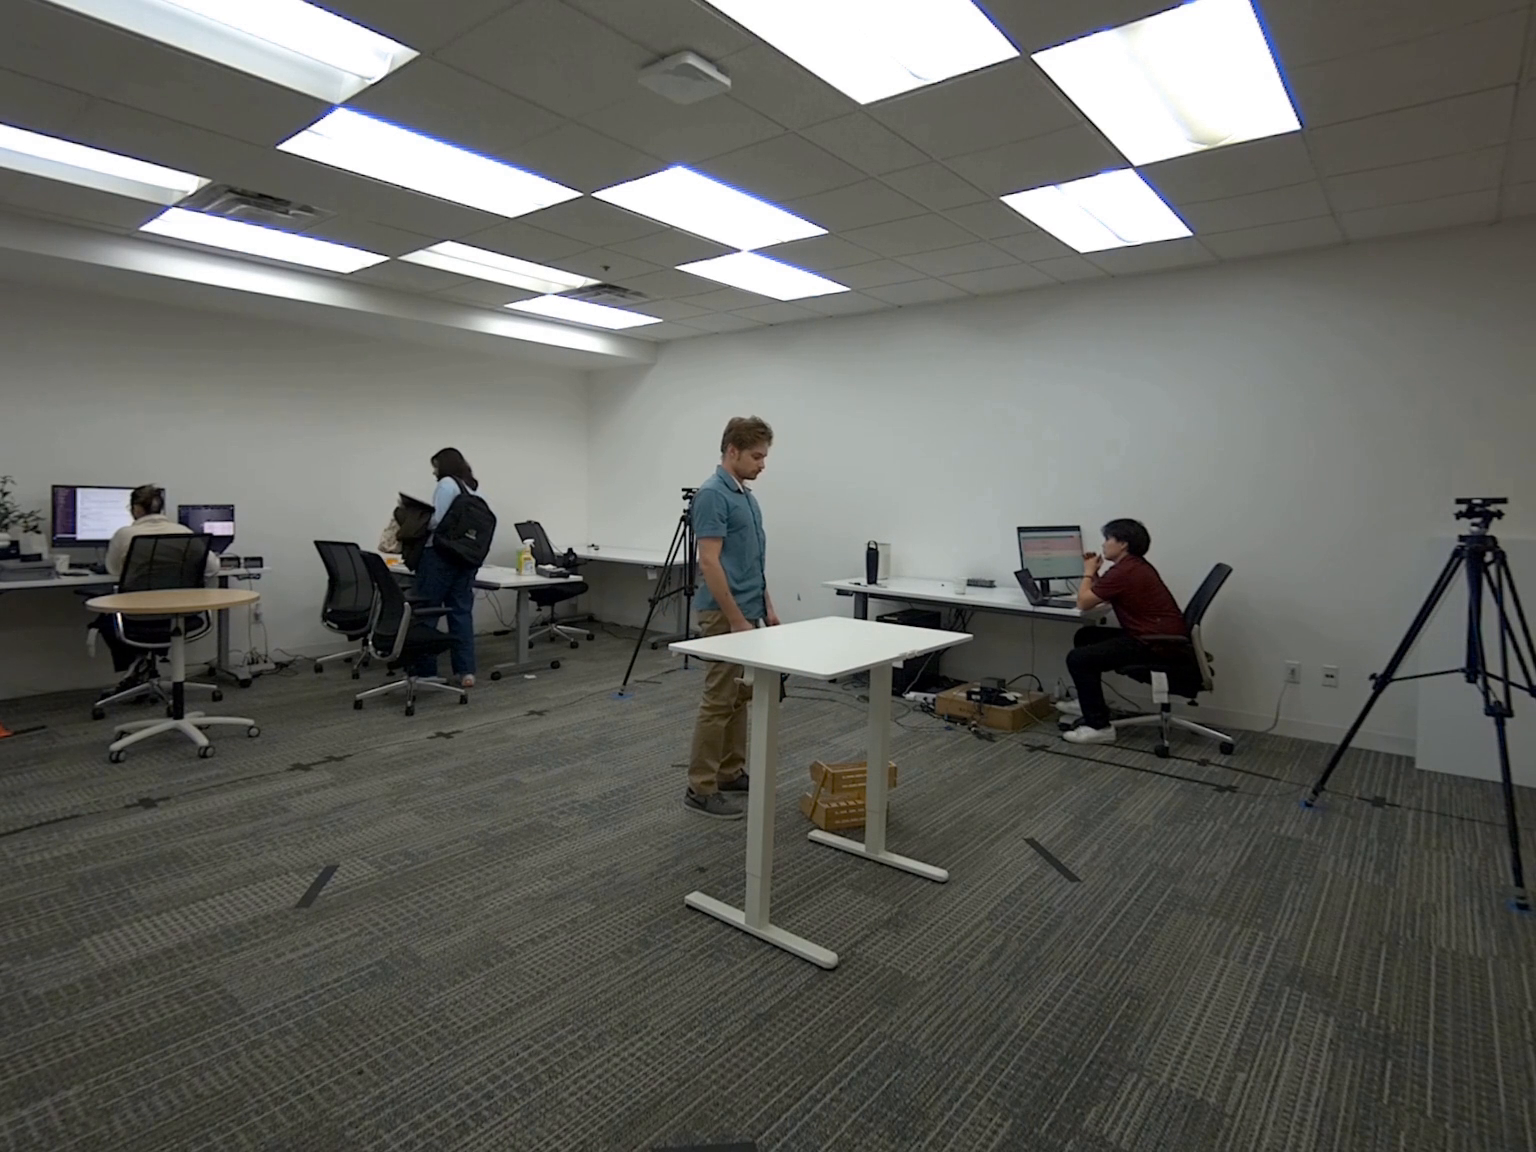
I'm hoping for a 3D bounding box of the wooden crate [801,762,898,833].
[{"bbox_3d":[0.326,0.892,3.632,0.317,0.272,0.310,-1,6,-23],"label":"wooden crate"}]
